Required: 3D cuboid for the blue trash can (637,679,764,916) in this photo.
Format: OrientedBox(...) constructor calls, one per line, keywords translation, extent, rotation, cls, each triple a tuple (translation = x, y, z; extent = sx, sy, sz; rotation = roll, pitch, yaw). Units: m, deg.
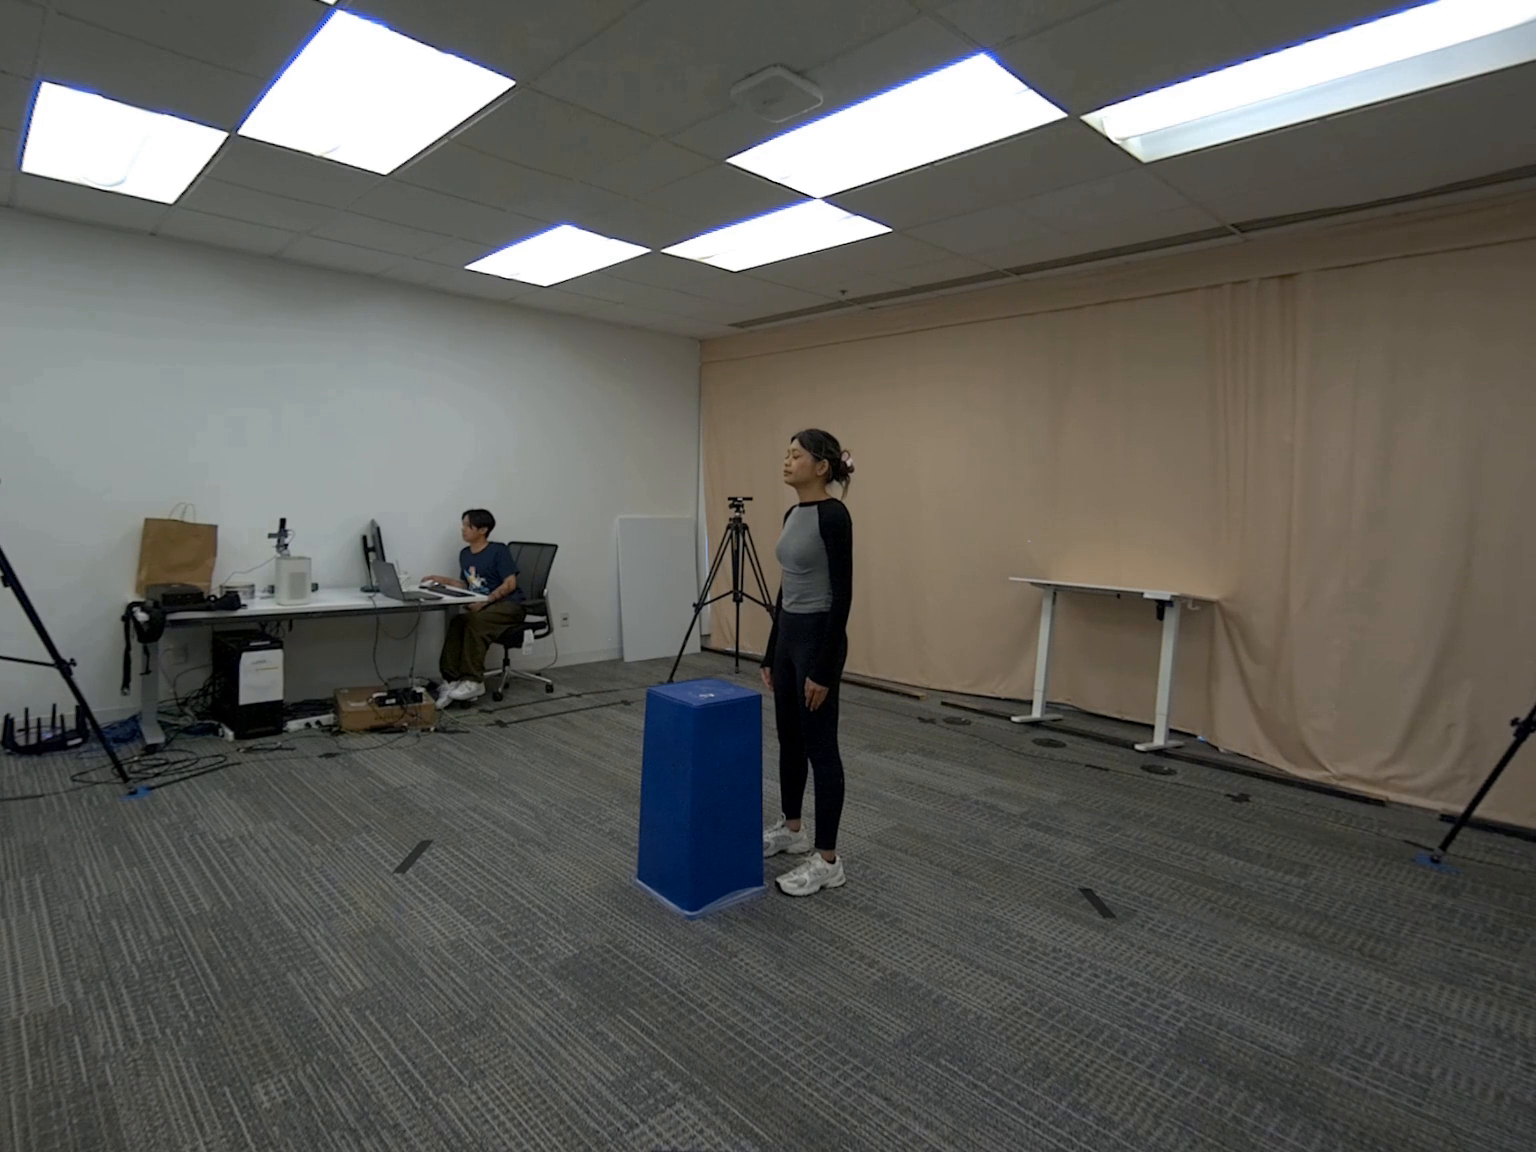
OrientedBox(translation=(-0.241, 0.764, 2.989), extent=(0.369, 0.711, 0.384), rotation=(-2, 6, -40), cls="blue trash can")
